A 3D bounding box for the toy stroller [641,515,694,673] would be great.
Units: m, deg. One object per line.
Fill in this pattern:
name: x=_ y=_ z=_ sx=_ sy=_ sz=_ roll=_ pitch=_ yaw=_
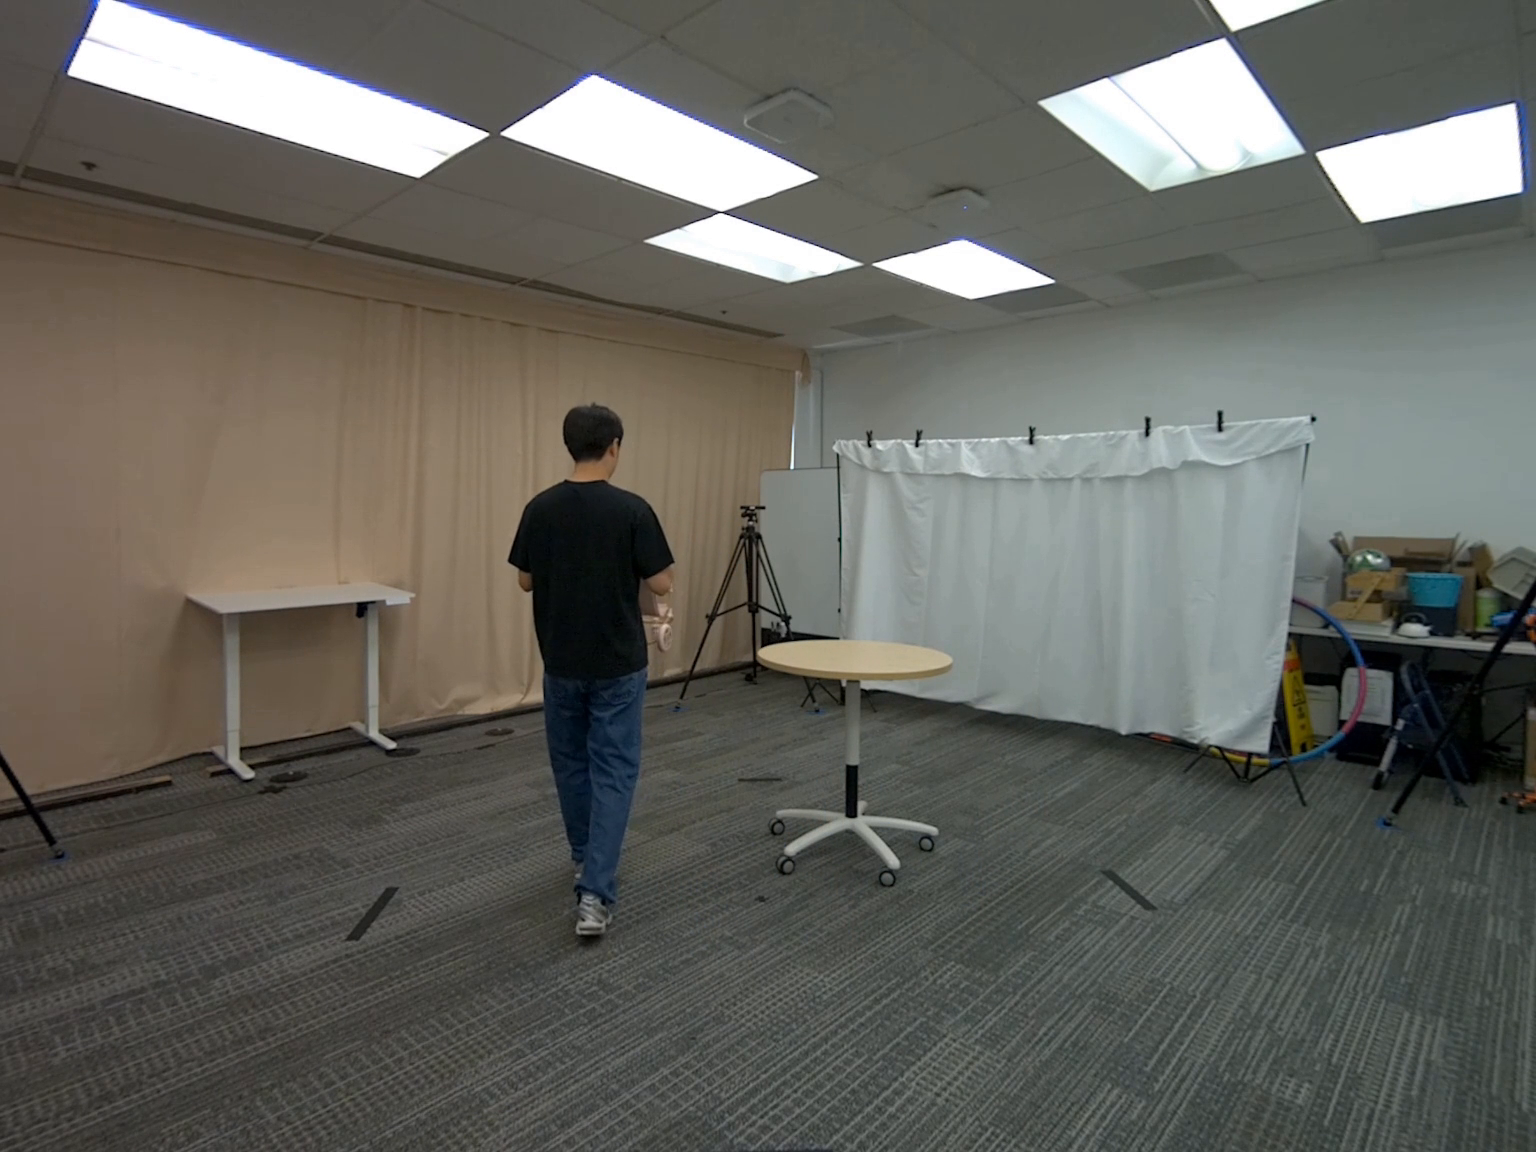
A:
toy stroller: x=-0.512 y=0.058 z=3.360 sx=0.287 sy=0.529 sz=0.338 roll=1 pitch=16 yaw=19
